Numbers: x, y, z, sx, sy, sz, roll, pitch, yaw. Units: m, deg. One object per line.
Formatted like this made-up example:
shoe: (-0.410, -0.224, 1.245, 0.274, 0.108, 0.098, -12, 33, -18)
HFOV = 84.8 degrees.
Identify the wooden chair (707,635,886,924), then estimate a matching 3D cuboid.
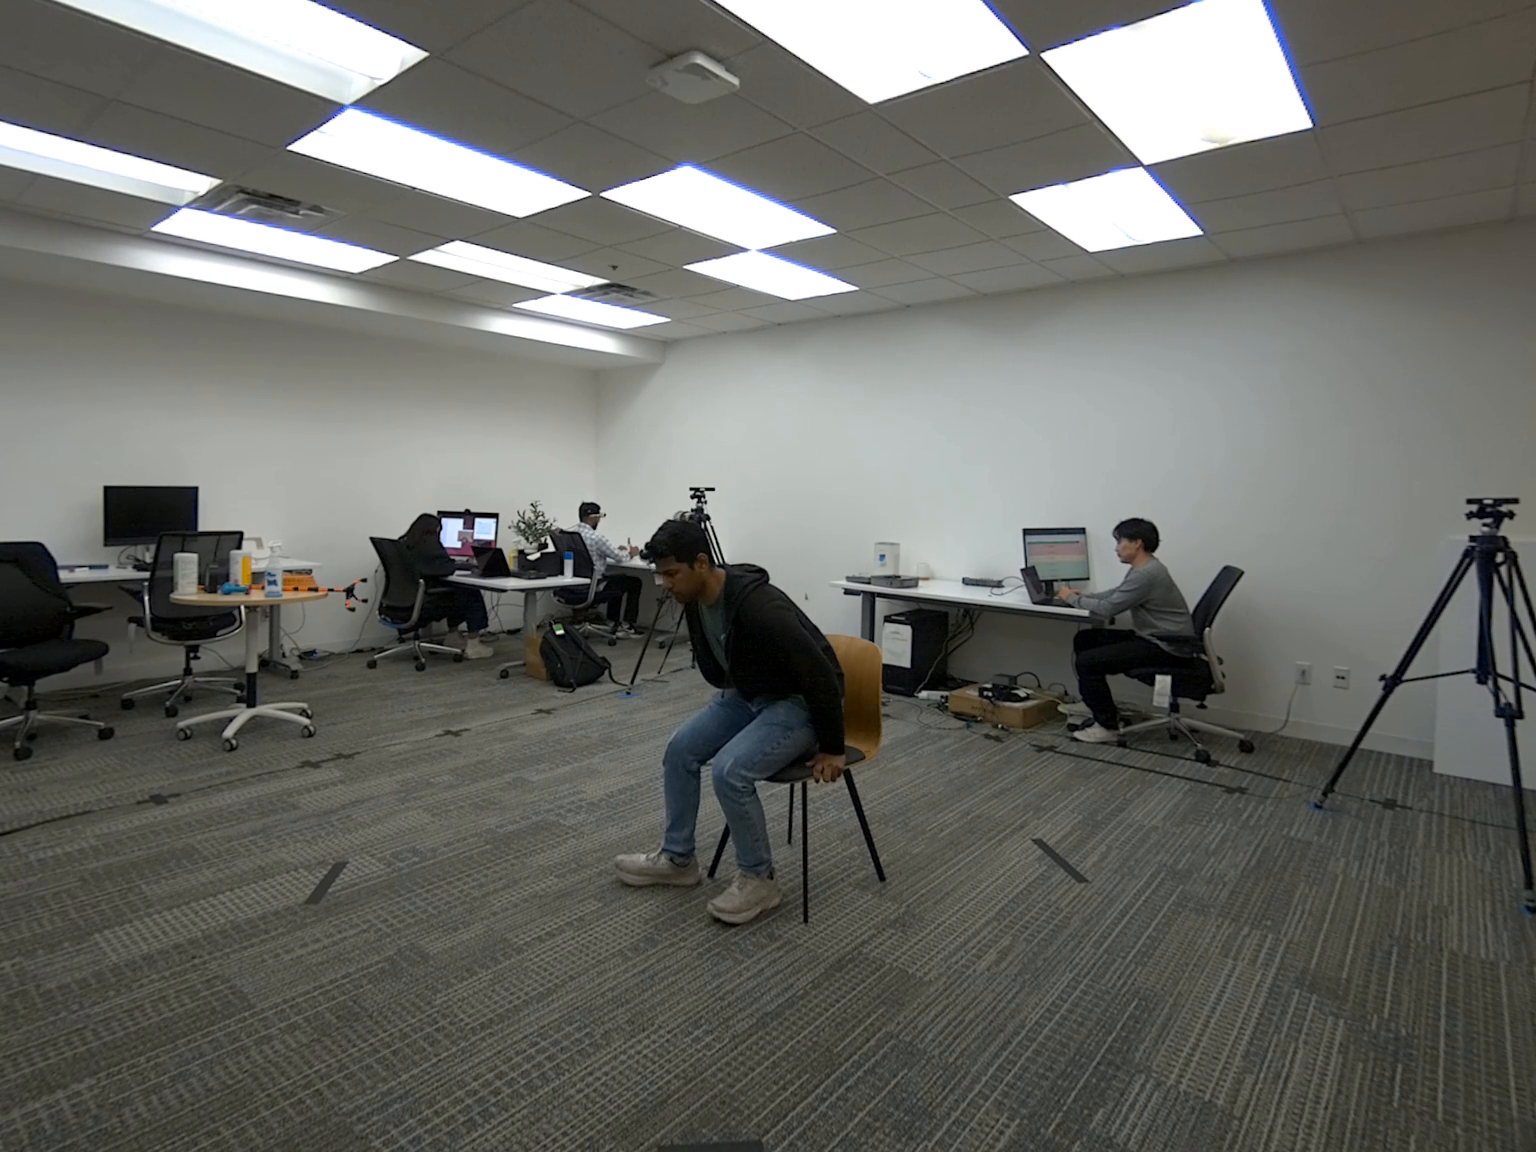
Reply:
wooden chair: (0.101, 0.659, 3.001, 0.495, 0.876, 0.506, 5, 2, 44)
